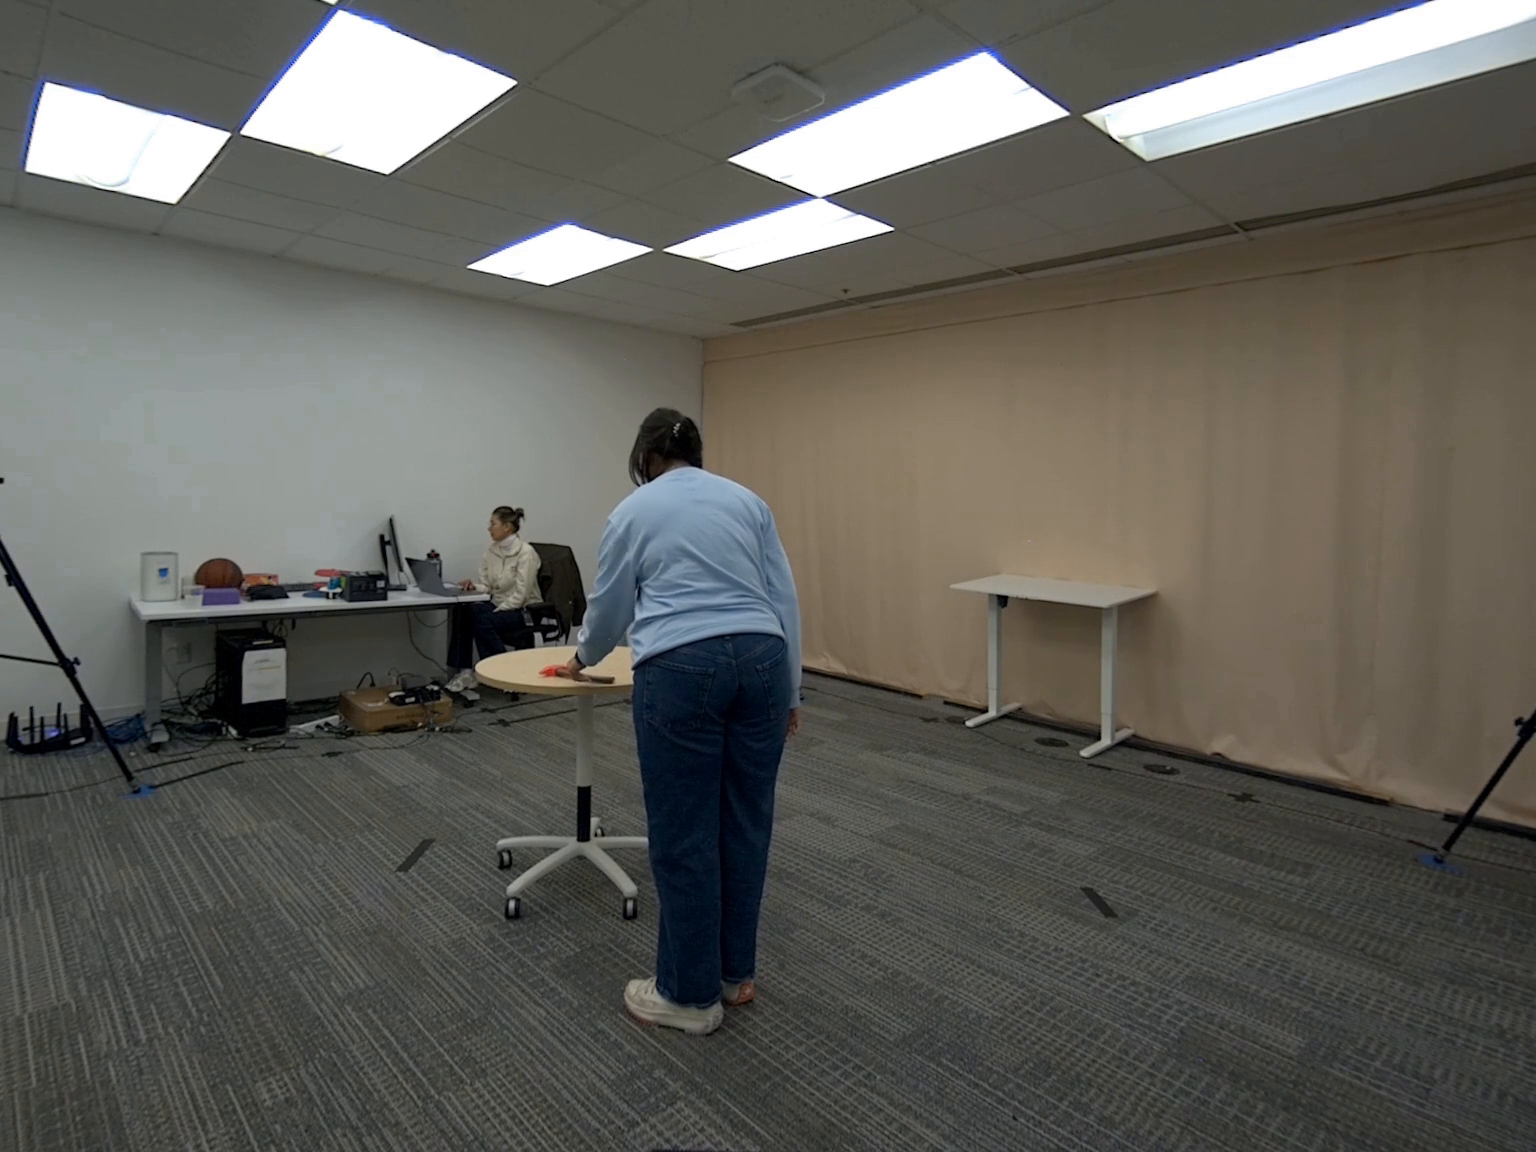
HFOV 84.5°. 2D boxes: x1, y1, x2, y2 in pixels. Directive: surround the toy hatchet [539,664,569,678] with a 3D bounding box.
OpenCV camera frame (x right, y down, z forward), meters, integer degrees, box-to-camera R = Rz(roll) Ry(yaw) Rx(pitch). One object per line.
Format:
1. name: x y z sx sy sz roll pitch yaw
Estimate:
1. toy hatchet: -0.629 0.323 2.778 0.274 0.029 0.129 4 3 18
